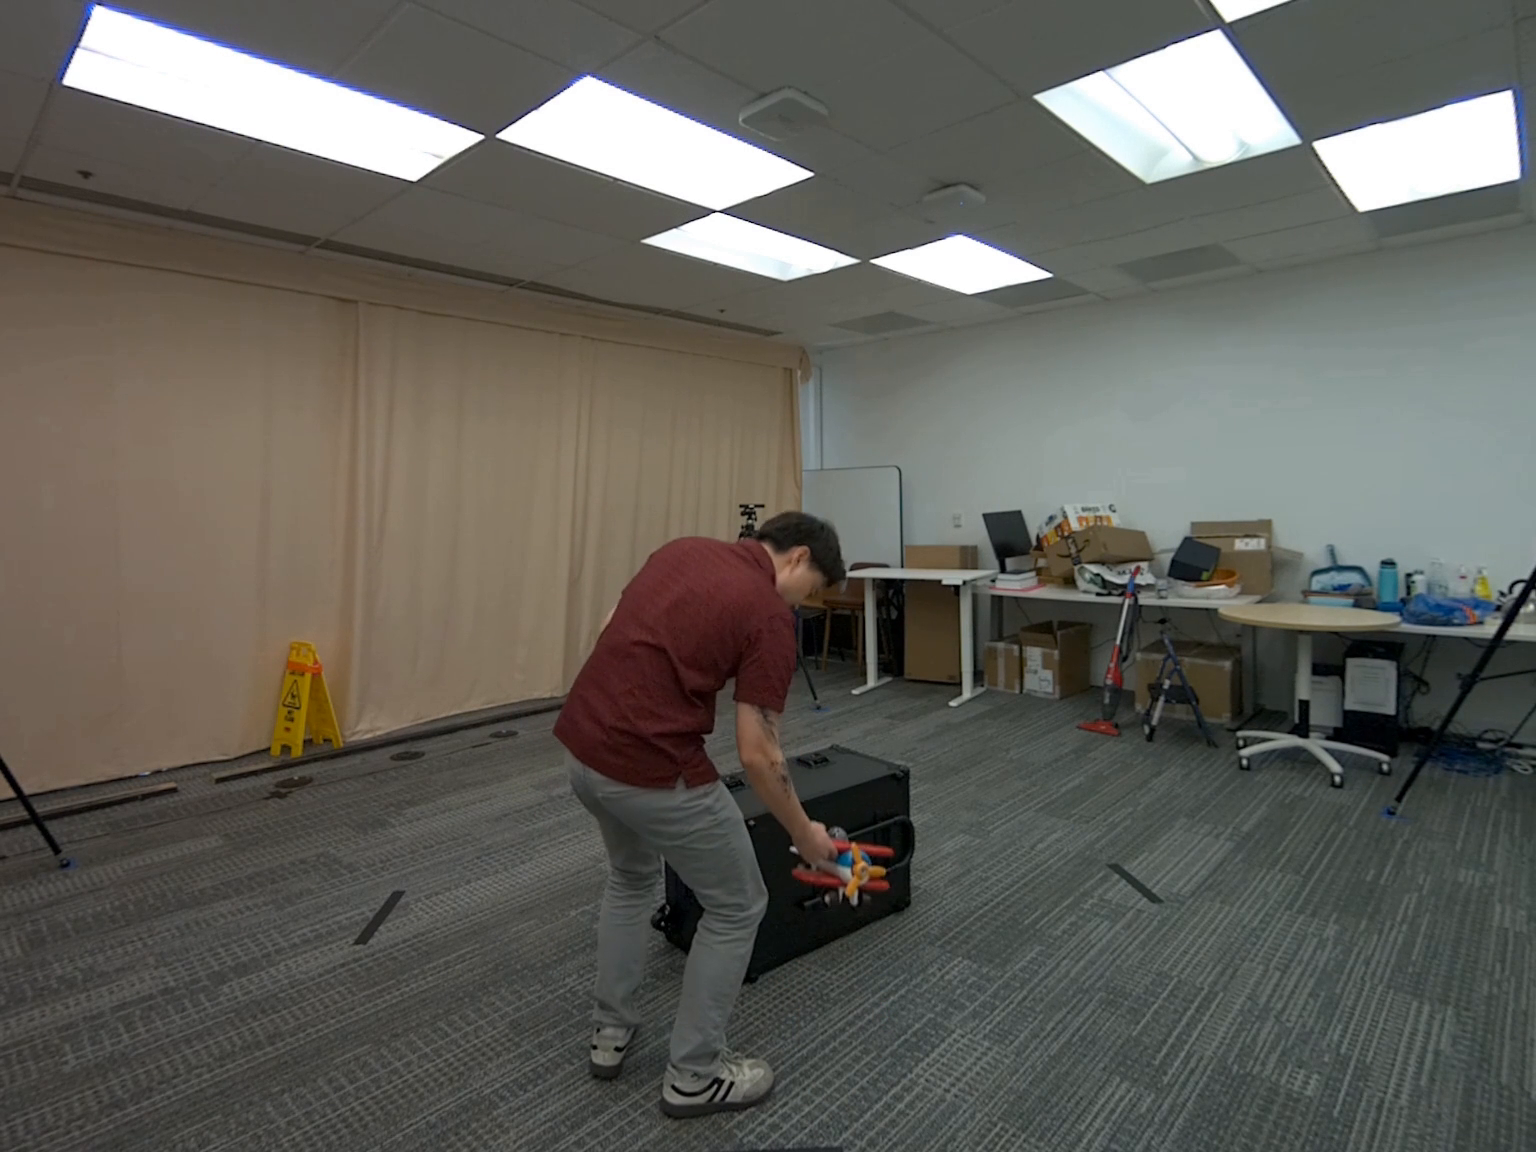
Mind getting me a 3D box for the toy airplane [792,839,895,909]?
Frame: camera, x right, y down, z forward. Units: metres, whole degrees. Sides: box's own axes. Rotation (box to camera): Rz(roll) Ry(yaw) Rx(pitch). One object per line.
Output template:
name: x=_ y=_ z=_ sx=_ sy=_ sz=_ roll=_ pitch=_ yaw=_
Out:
toy airplane: x=0.157 y=0.717 z=2.058 sx=0.269 sy=0.156 sz=0.242 roll=18 pitch=5 yaw=41
